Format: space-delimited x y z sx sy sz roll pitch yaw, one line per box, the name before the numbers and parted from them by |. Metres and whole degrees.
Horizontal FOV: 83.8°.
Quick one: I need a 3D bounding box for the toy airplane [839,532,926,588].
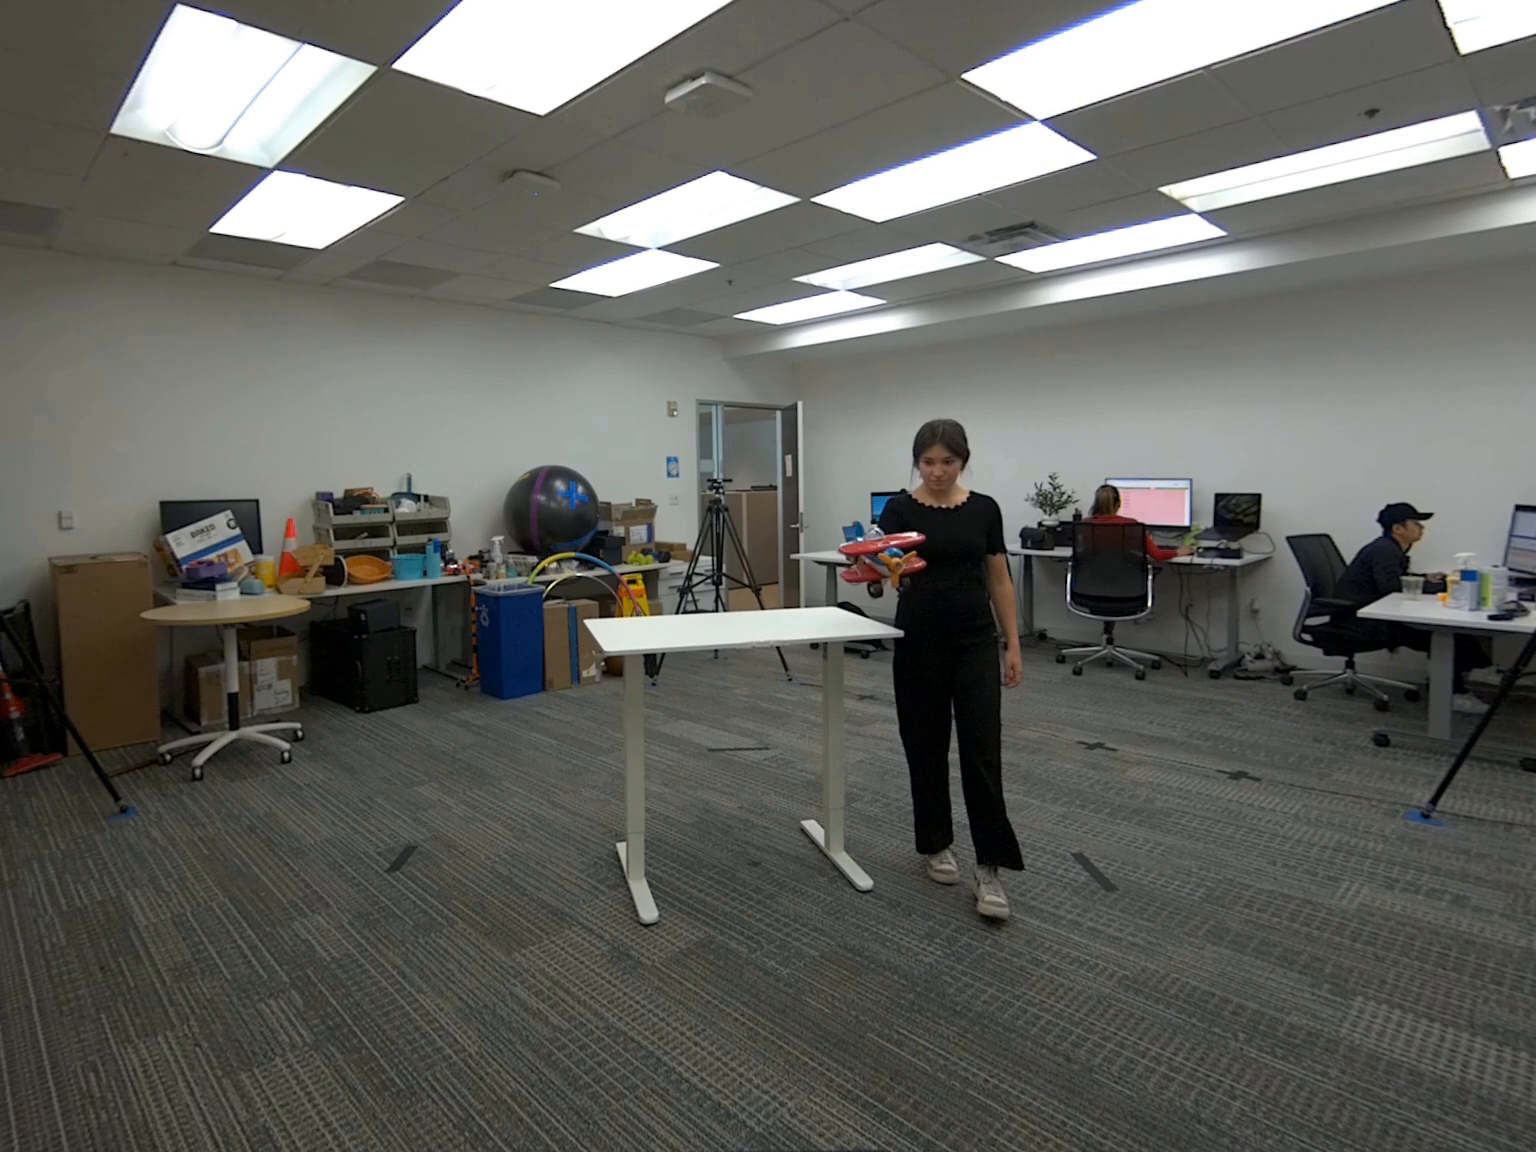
toy airplane | 0.300 -0.056 2.461 0.269 0.153 0.248 27 41 36
